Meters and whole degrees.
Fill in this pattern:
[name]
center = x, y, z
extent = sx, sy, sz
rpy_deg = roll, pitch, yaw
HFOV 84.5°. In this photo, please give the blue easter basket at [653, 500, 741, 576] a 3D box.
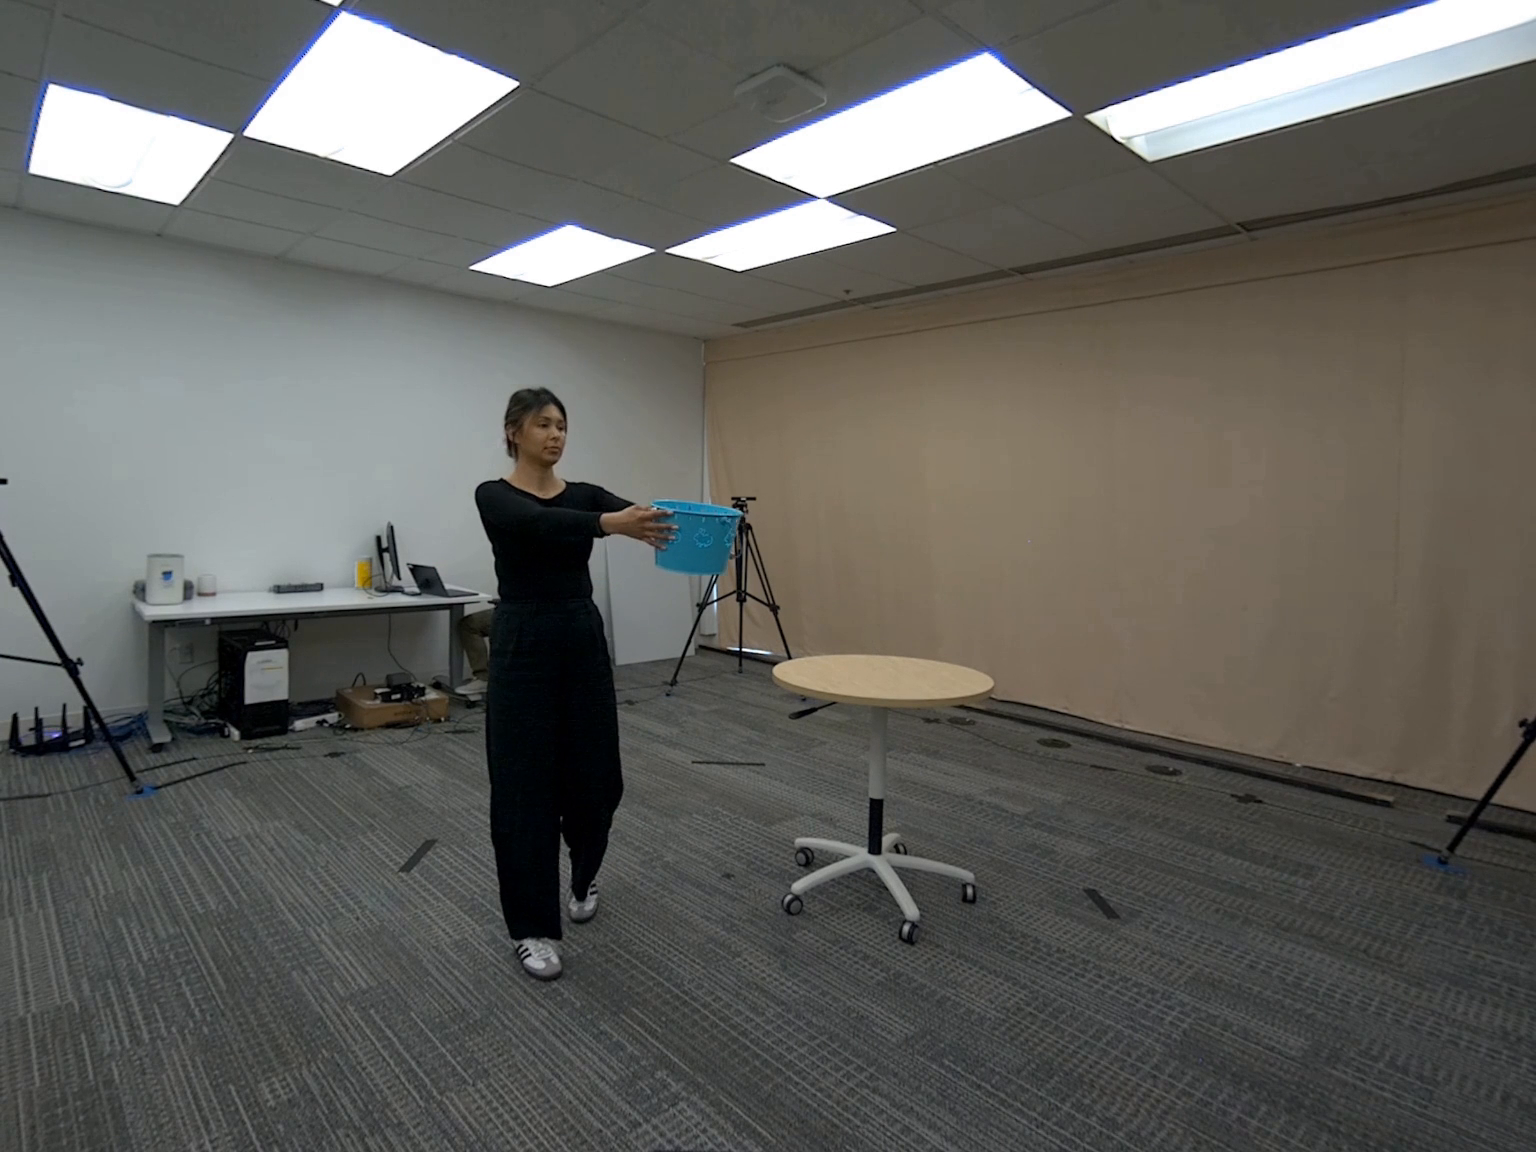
[blue easter basket]
center = -0.199, -0.093, 2.096
extent = 0.243, 0.155, 0.245
rpy_deg = 4, 9, -2
